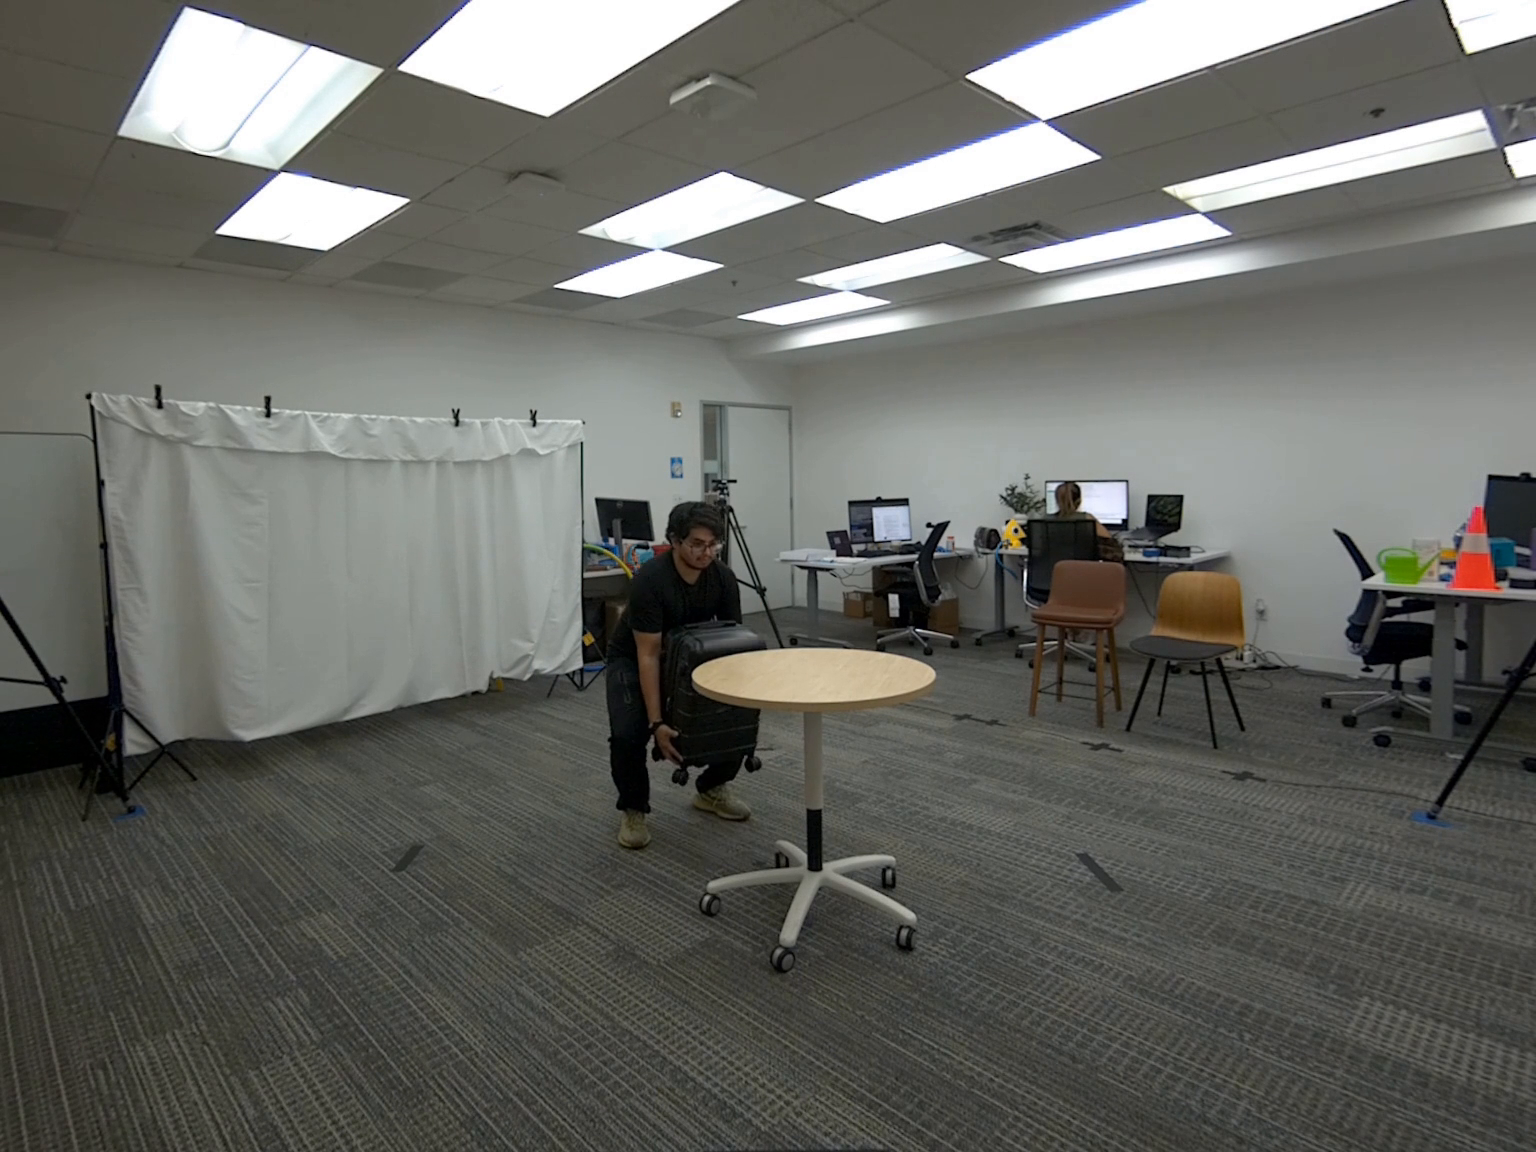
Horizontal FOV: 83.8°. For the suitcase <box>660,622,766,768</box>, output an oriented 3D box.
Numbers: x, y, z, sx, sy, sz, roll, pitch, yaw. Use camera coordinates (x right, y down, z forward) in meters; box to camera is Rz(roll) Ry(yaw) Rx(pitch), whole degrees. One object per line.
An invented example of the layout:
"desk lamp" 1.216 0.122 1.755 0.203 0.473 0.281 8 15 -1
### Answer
"suitcase" -0.216 0.456 3.219 0.366 0.545 0.257 -1 12 -32
